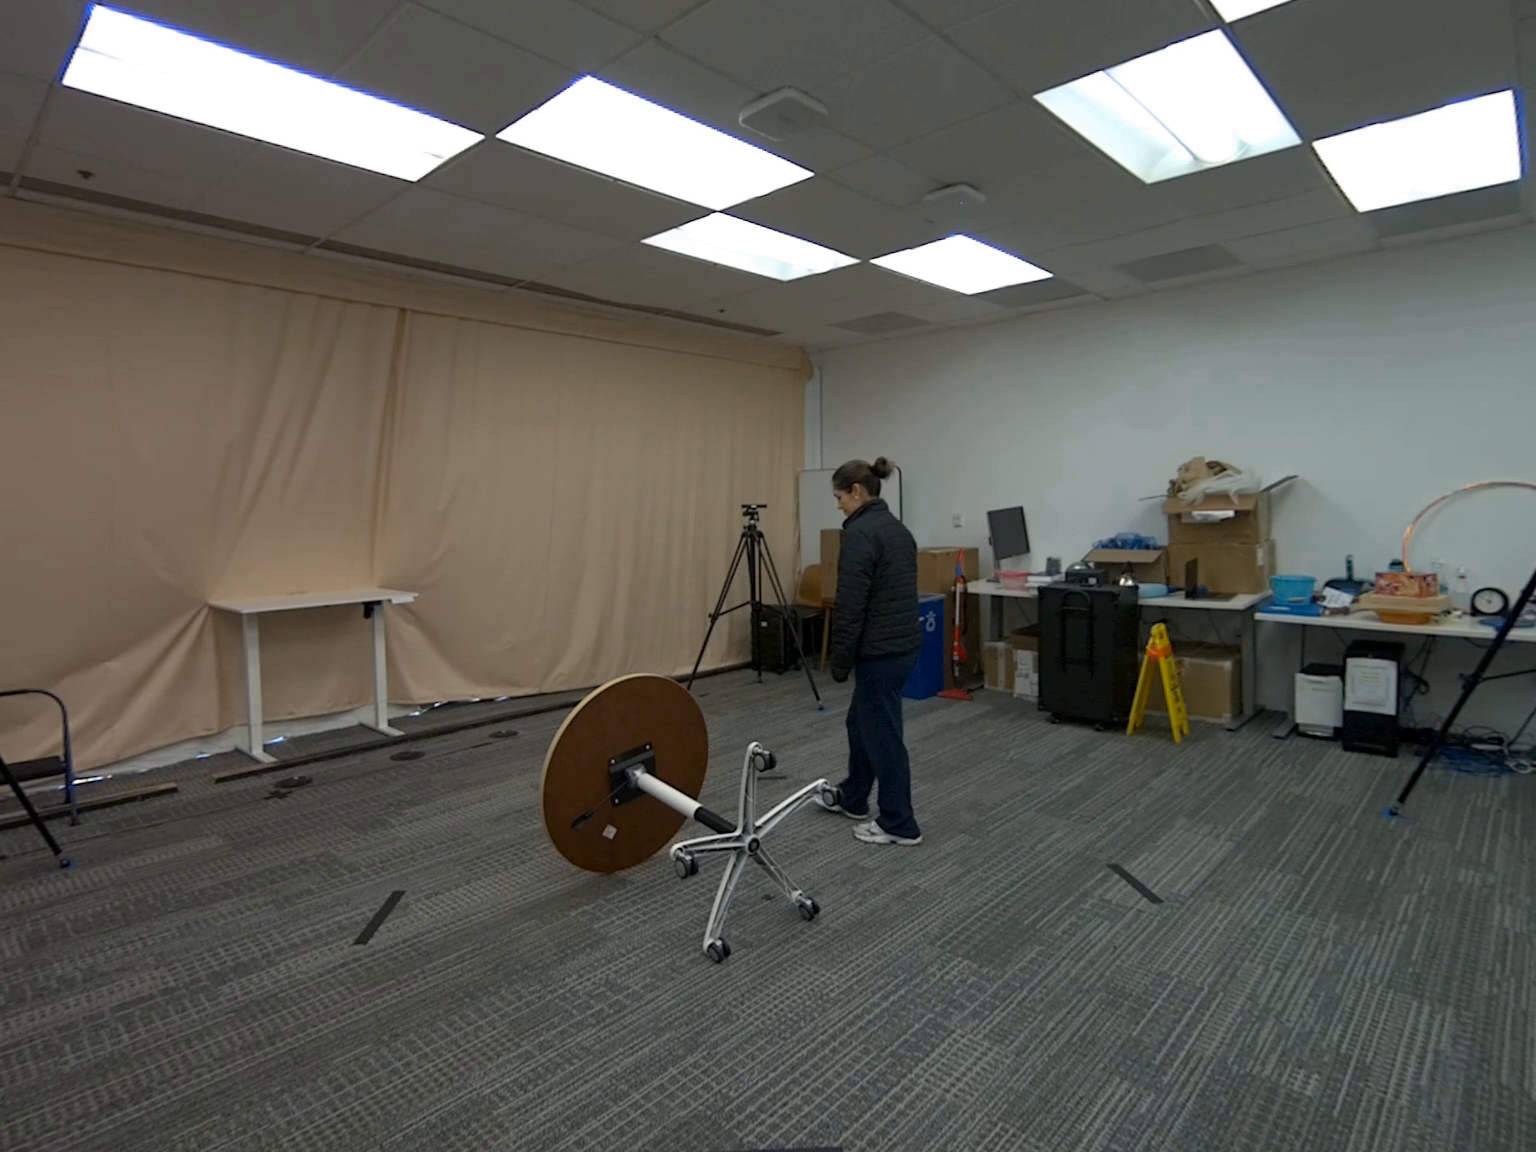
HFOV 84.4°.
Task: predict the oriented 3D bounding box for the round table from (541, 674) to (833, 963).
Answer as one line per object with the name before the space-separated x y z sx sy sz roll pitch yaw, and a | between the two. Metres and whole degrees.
round table | -0.251 0.812 2.923 0.761 0.781 0.814 -4 10 -42
